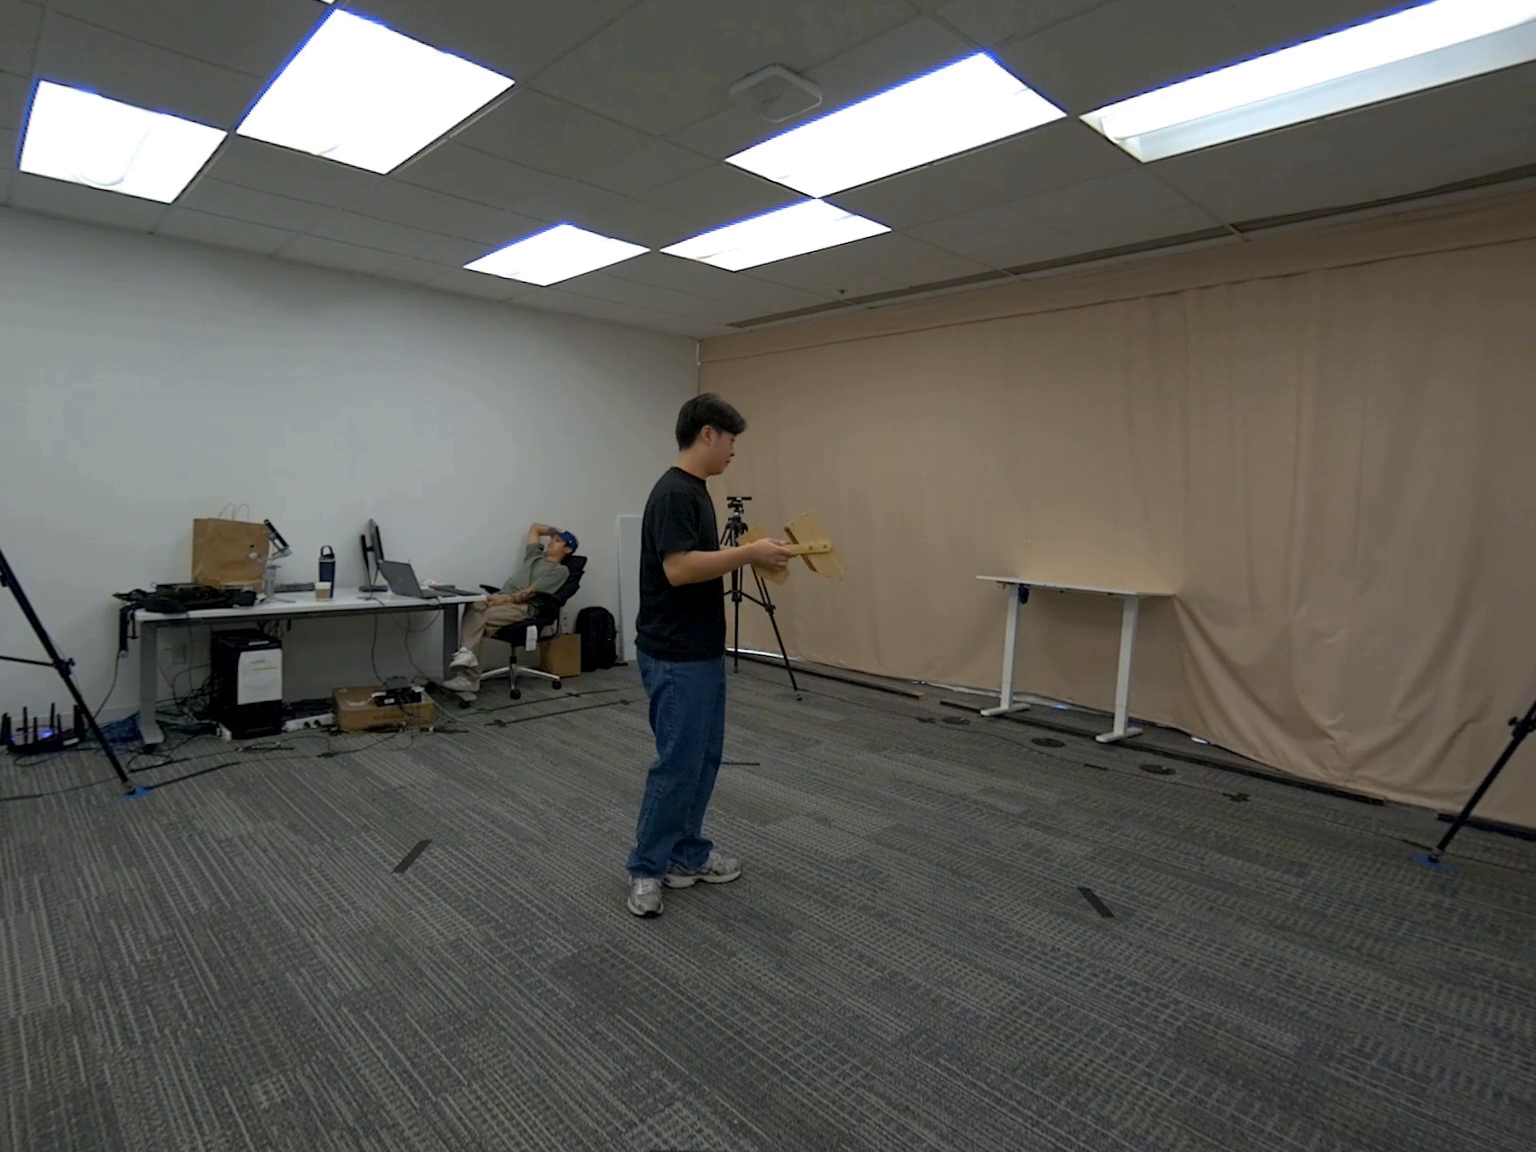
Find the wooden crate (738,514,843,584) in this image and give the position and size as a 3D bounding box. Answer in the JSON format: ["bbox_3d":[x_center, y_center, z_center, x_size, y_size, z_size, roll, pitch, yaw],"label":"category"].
[{"bbox_3d":[0.074,-0.060,2.908,0.273,0.302,0.324,-30,1,2],"label":"wooden crate"}]
